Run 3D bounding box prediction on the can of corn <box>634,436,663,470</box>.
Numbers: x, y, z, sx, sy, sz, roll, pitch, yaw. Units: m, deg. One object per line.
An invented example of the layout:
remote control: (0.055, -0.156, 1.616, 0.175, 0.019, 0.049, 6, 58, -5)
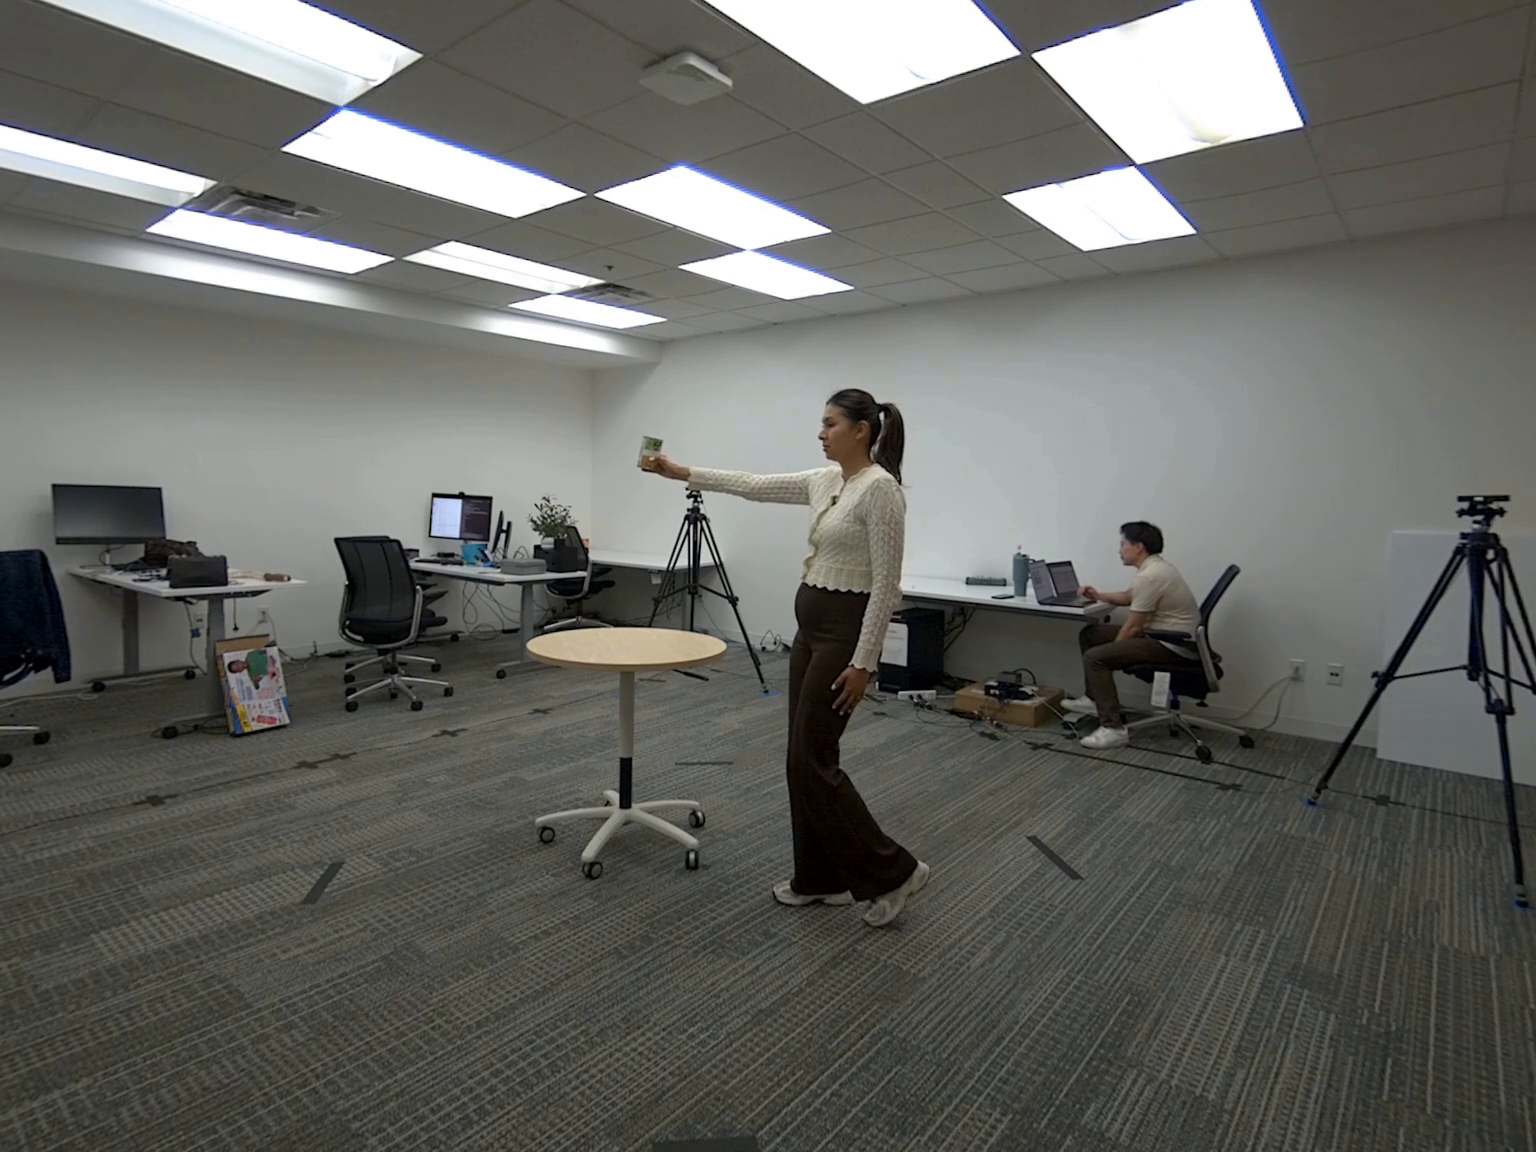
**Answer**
can of corn: (-0.433, -0.442, 3.039, 0.074, 0.110, 0.075, 11, 5, -3)
